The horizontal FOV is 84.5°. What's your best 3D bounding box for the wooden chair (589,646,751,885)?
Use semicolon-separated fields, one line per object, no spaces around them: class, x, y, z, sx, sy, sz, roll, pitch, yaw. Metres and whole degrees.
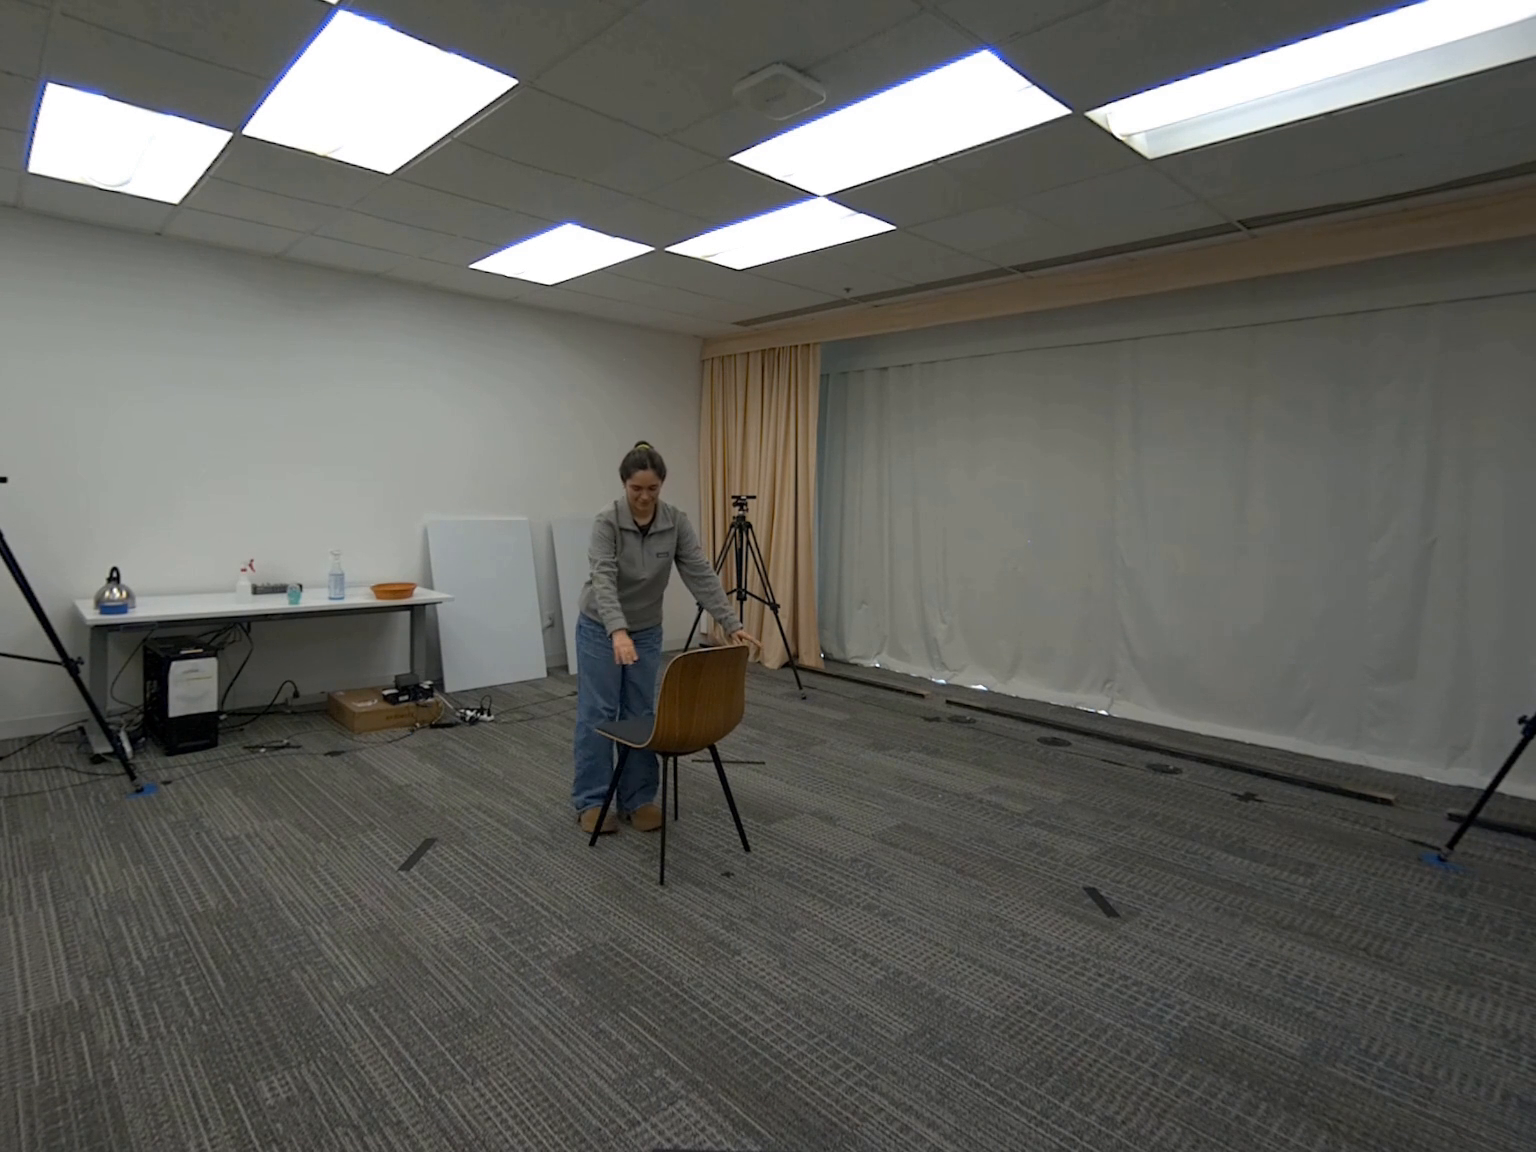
wooden chair;-0.386;0.653;3.287;0.467;0.873;0.537;-3;9;-45
